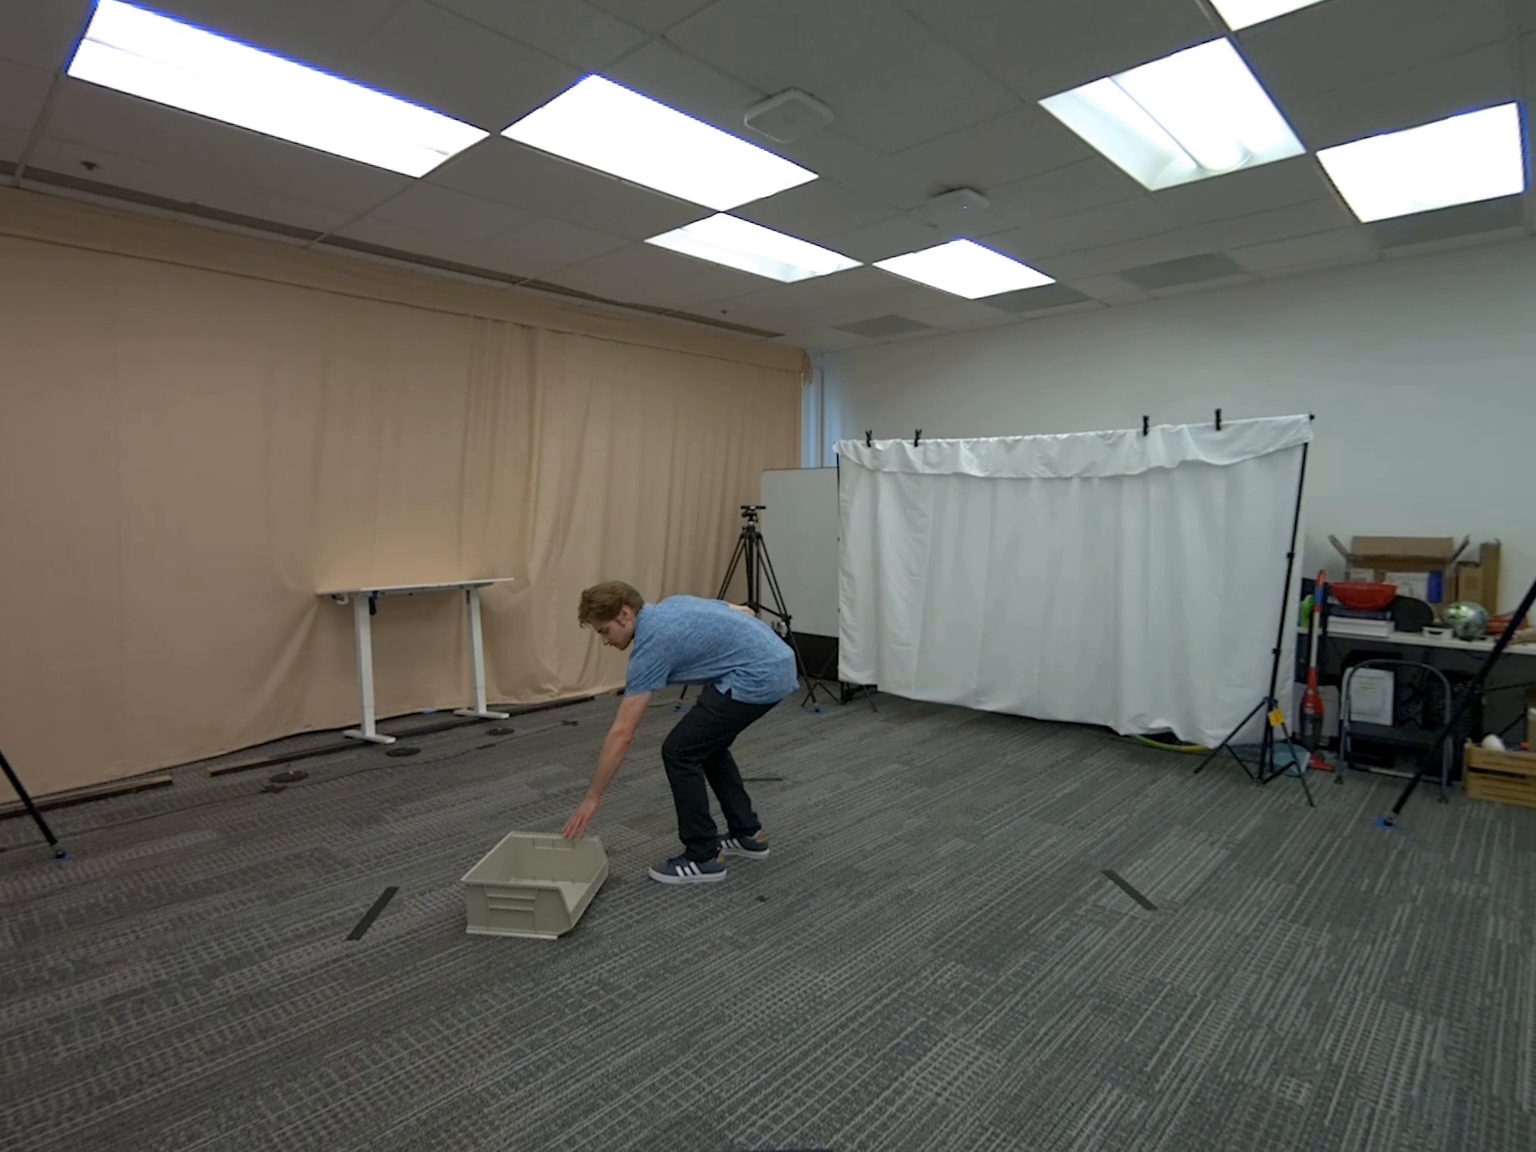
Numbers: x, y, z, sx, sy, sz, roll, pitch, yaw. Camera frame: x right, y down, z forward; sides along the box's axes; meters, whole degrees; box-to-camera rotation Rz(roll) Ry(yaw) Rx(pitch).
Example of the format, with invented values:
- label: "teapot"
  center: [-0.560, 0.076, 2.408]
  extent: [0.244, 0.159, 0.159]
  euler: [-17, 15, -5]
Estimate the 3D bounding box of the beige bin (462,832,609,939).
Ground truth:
- label: "beige bin"
  center: [-0.799, 1.067, 2.929]
  extent: [0.381, 0.188, 0.420]
  euler: [-1, 5, 7]
